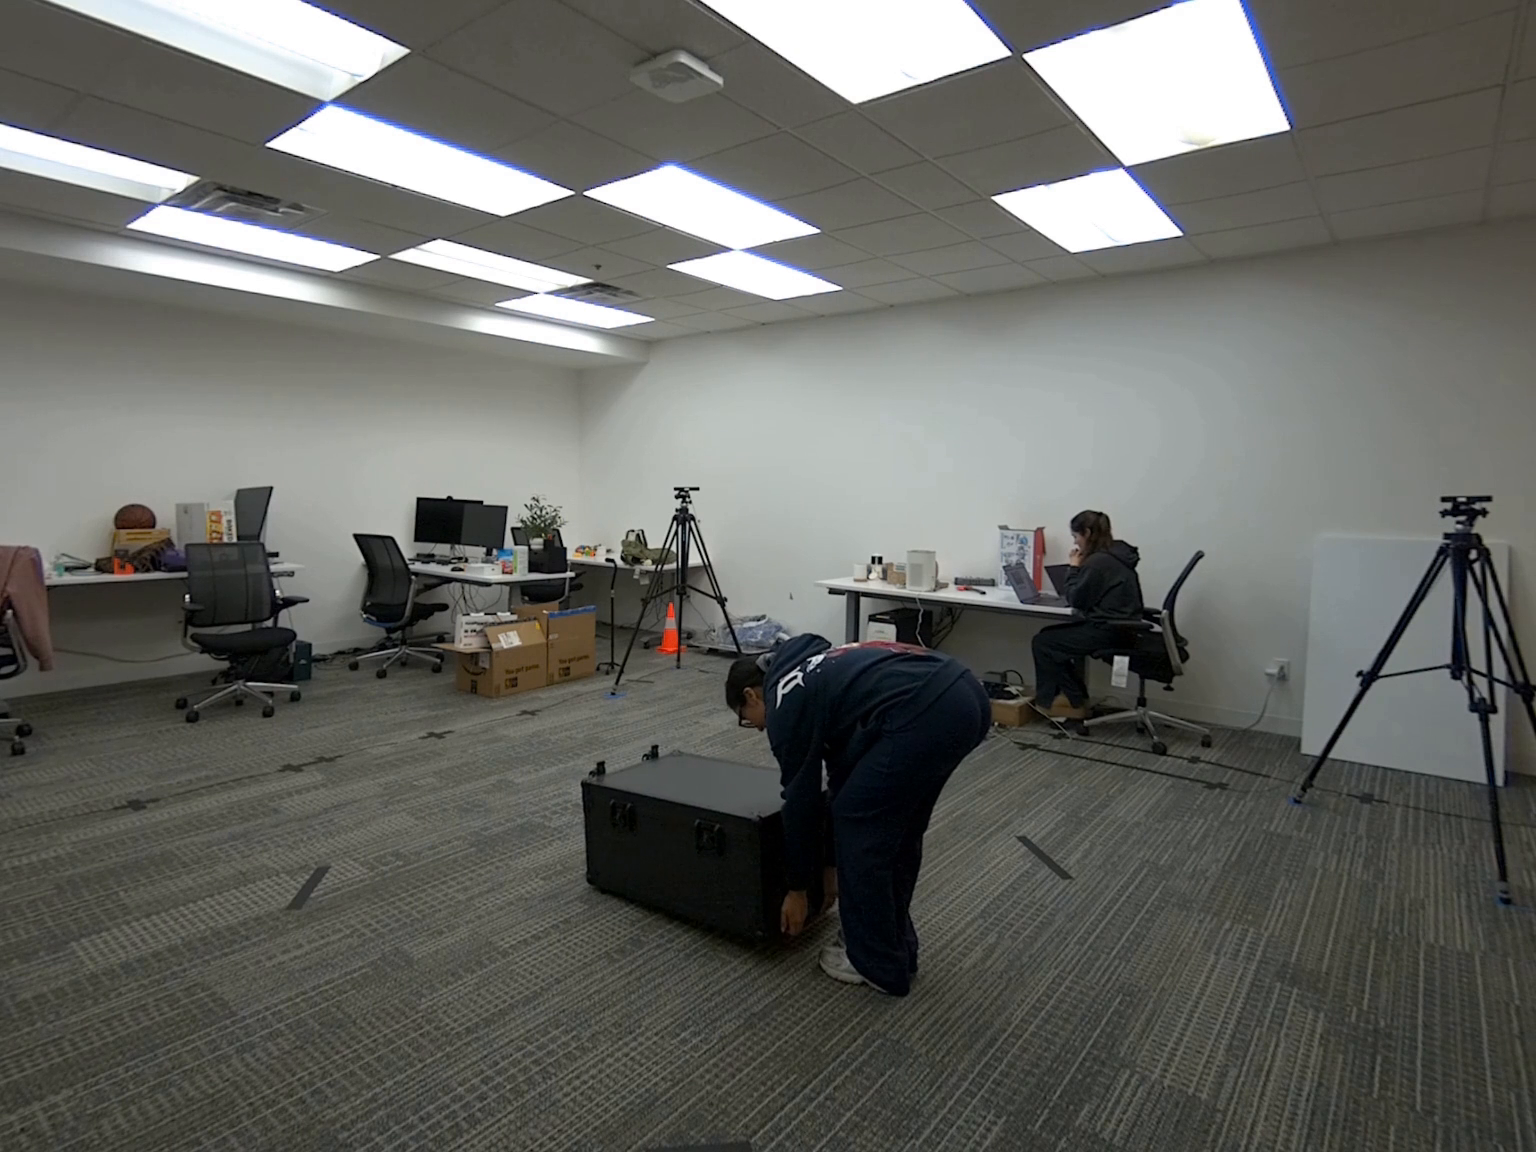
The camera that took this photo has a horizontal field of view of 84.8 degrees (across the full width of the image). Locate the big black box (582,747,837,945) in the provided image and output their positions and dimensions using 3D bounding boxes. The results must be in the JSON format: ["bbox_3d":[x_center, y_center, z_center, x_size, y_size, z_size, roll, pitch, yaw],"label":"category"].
[{"bbox_3d":[-0.220,0.869,2.896,0.888,0.396,0.506,0,2,39],"label":"big black box"}]
